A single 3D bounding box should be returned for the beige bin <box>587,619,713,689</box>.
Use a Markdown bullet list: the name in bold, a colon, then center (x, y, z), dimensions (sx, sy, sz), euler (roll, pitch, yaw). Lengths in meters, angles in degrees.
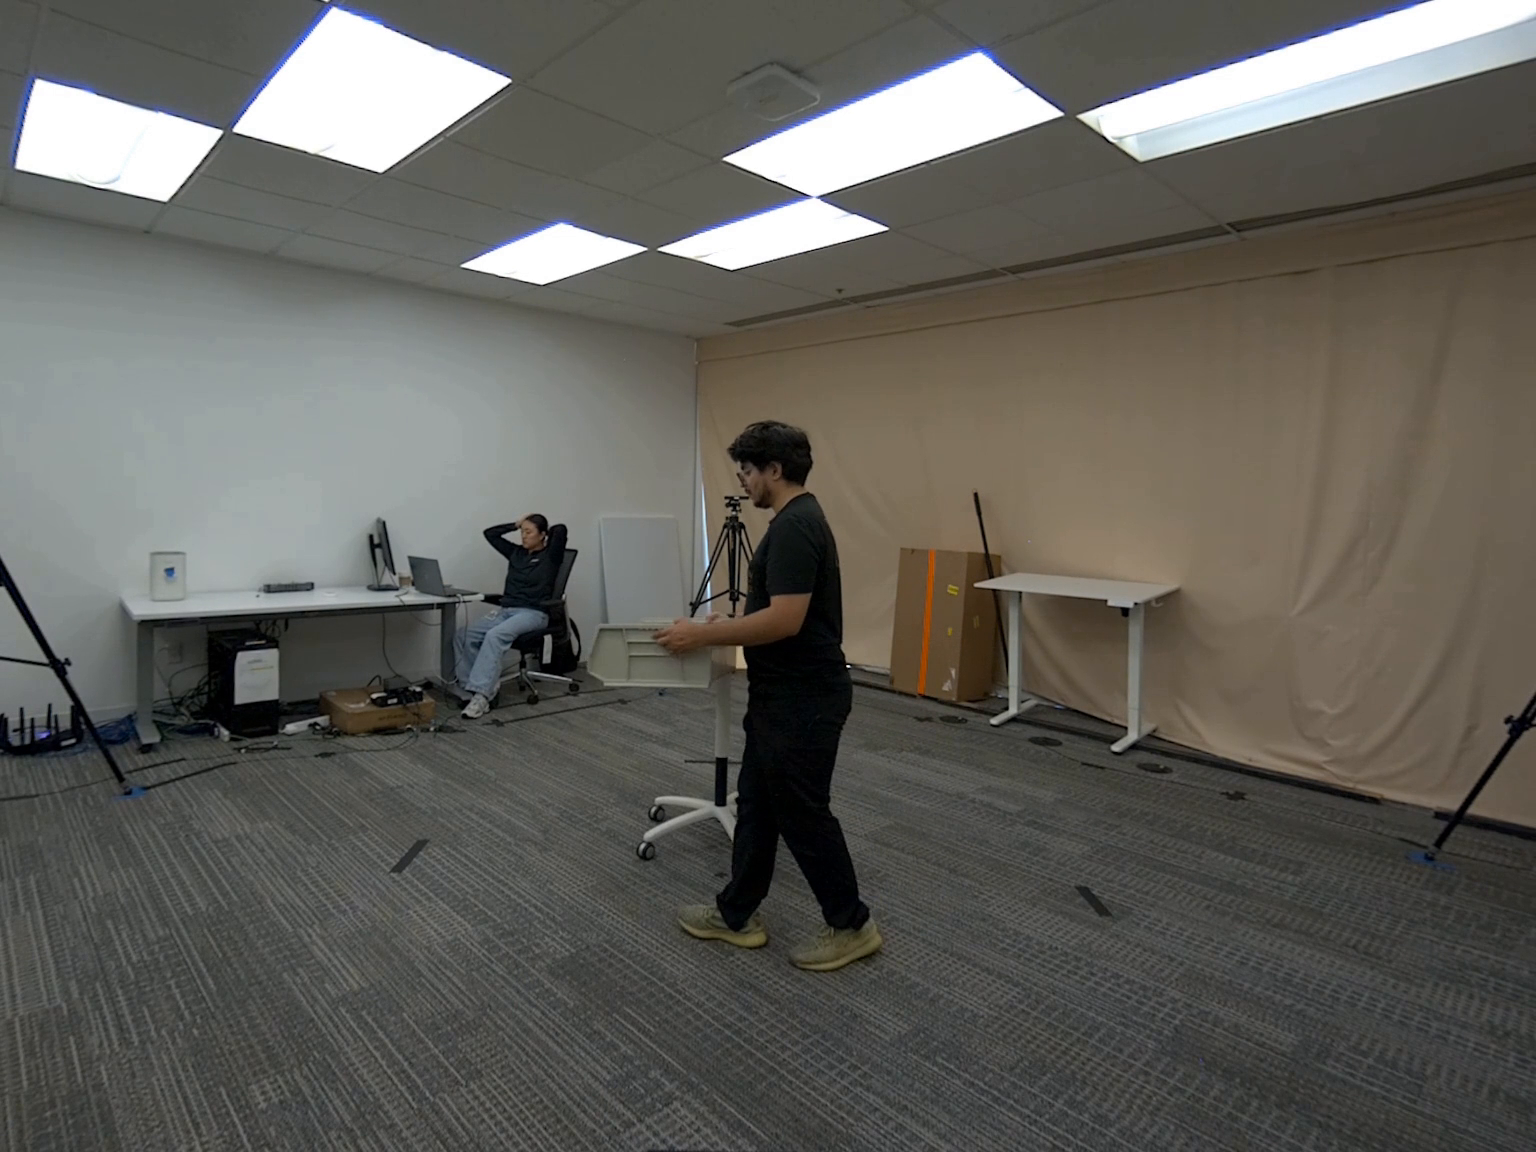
- **beige bin**: center (-0.316, 0.226, 2.619), dimensions (0.380, 0.189, 0.418), euler (1, 0, 10)
